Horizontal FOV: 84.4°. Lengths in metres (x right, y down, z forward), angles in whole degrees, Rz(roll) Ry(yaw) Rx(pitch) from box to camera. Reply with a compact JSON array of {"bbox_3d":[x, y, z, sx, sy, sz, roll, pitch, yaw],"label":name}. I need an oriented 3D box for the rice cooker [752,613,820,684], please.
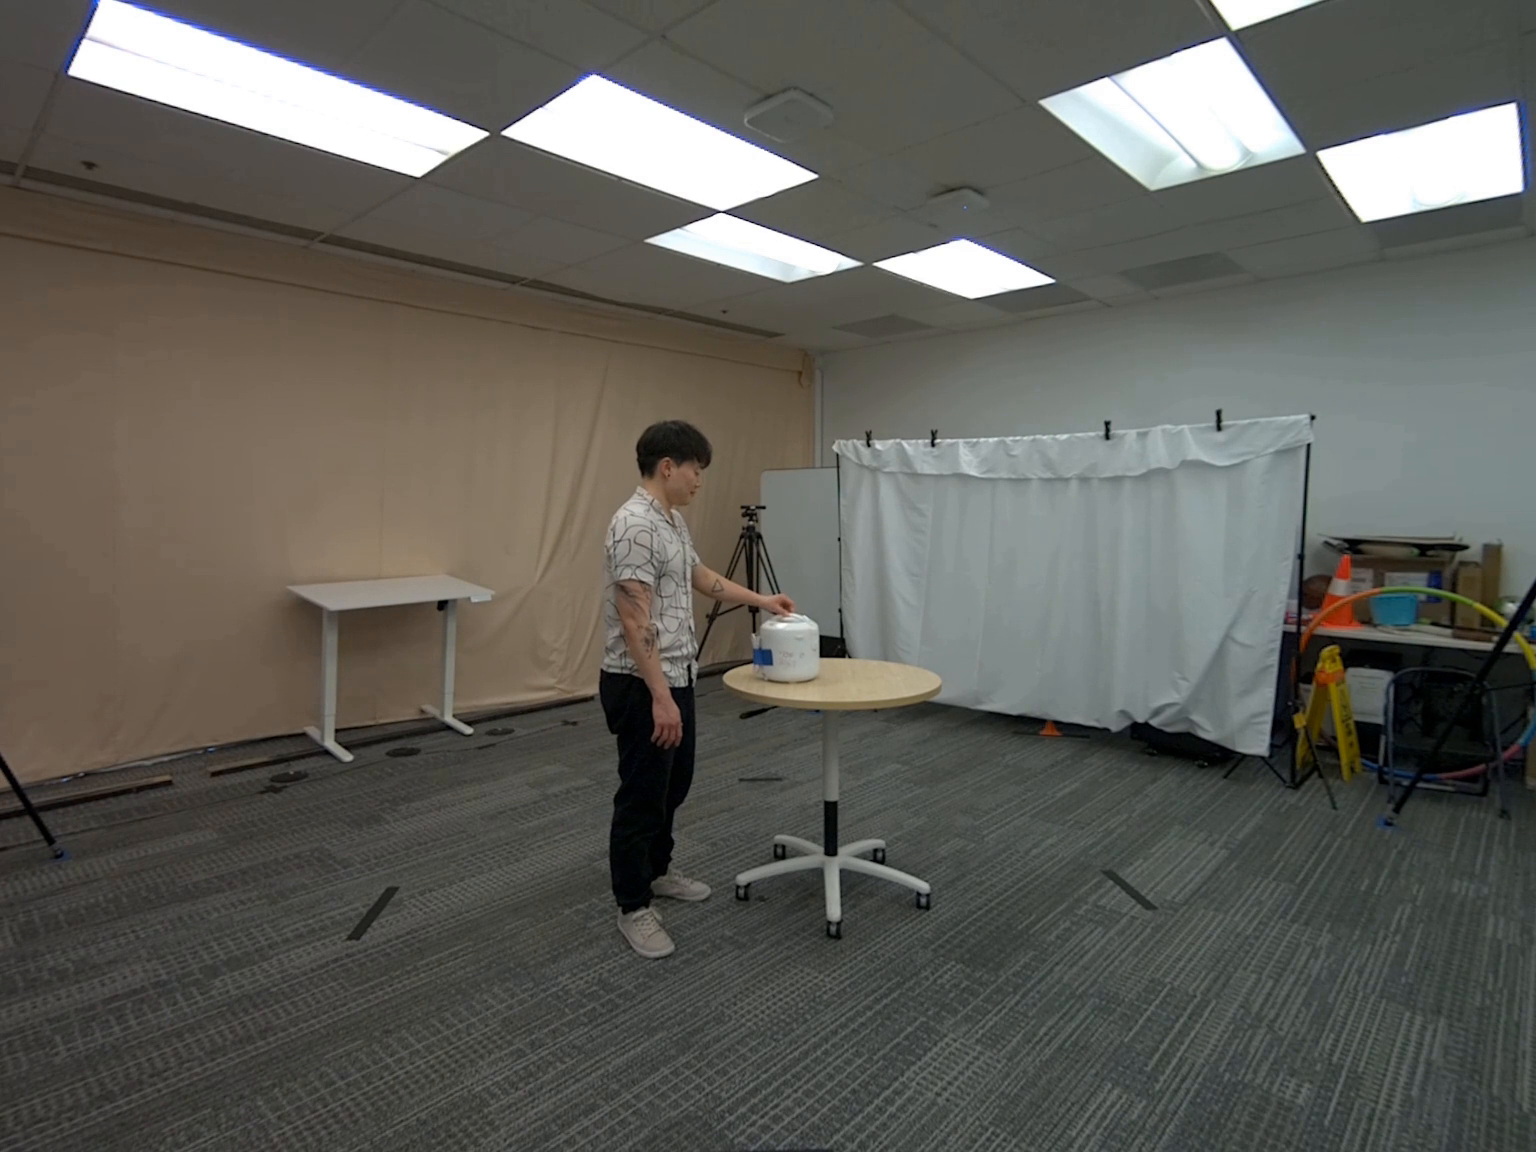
[{"bbox_3d":[0.079,0.243,2.975,0.227,0.232,0.211,1,4,35],"label":"rice cooker"}]
